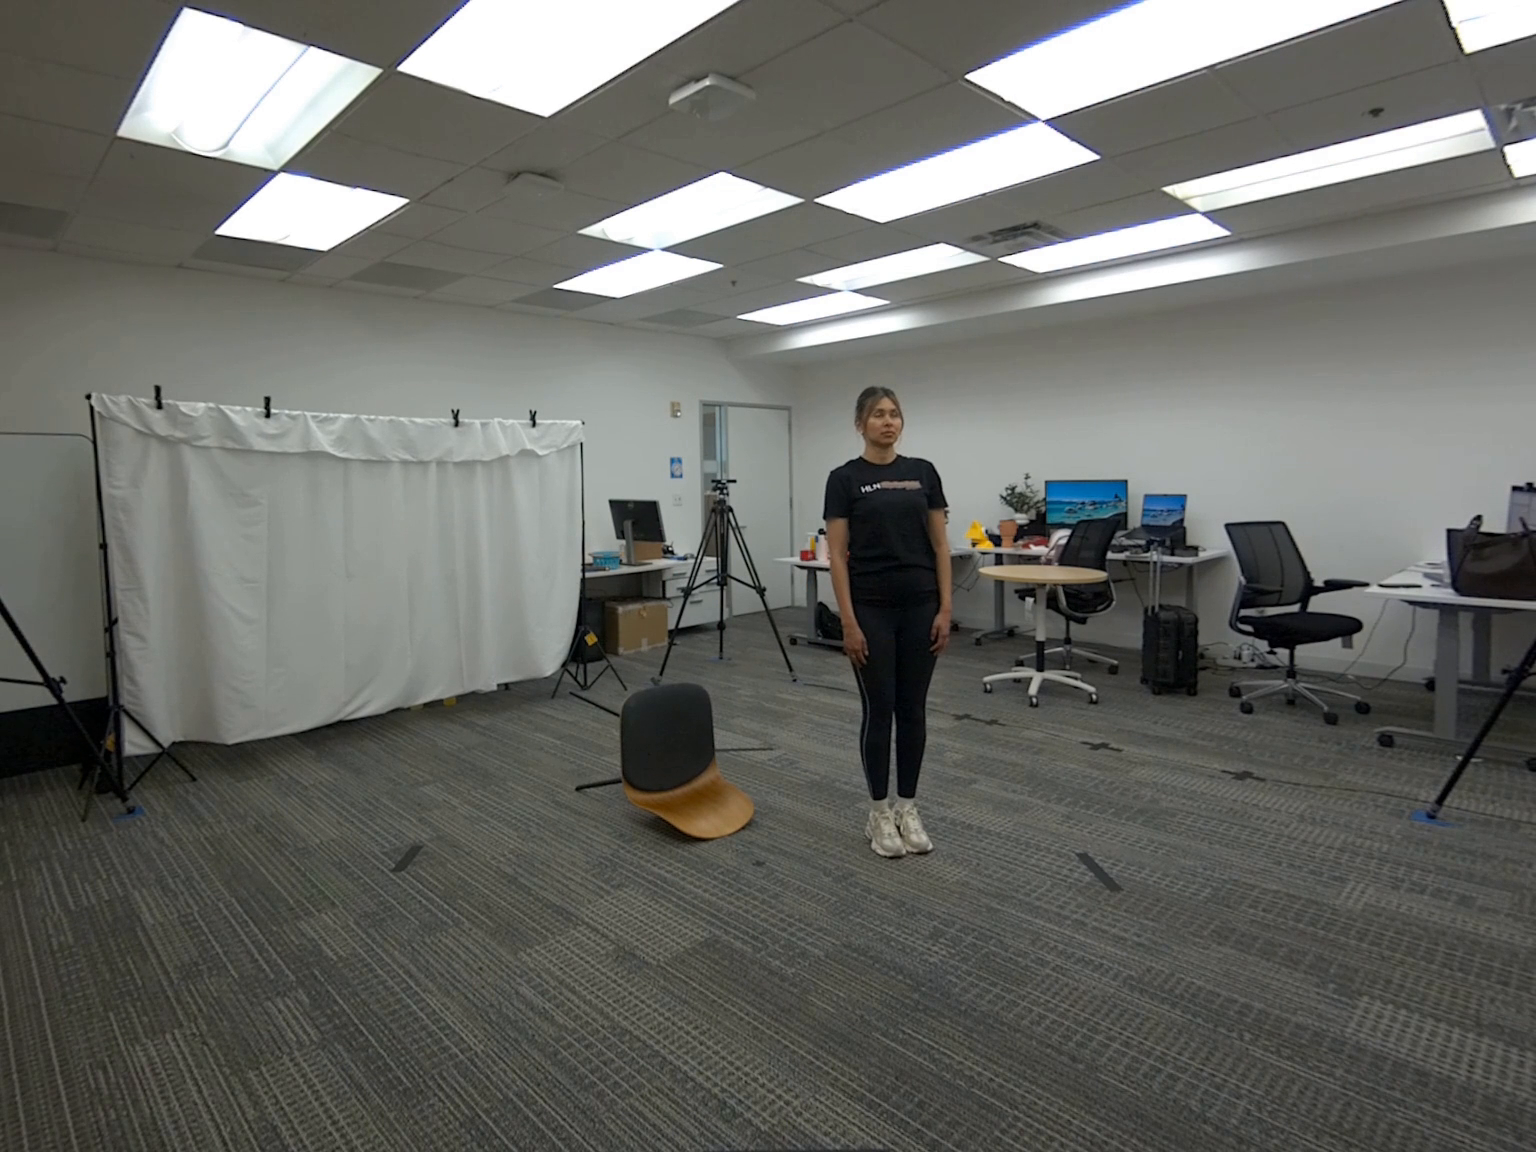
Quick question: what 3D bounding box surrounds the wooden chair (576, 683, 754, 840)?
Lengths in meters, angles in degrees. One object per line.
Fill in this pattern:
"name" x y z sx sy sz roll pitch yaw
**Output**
"wooden chair" -0.443 0.730 3.673 0.466 0.521 0.904 -5 7 -38
